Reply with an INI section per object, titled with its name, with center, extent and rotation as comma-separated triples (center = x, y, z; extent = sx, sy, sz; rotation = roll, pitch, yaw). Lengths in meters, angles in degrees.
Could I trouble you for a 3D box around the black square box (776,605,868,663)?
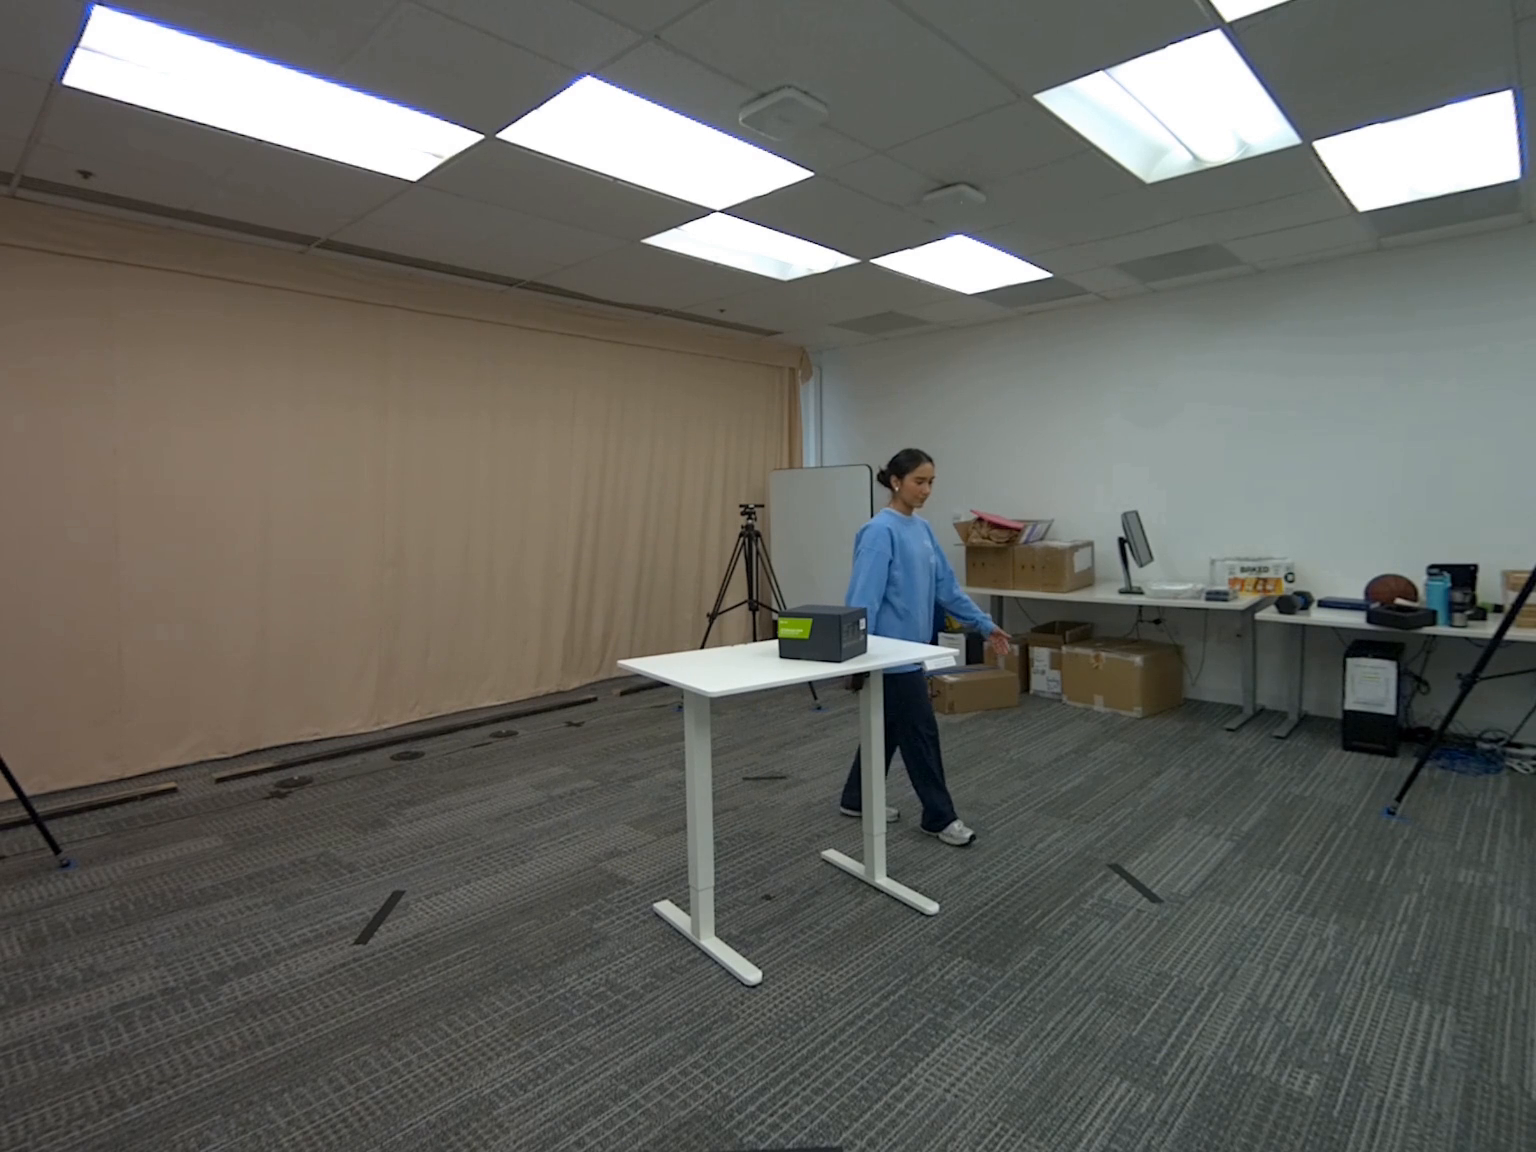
[black square box]
center = 0.186, 0.187, 2.815
extent = 0.234, 0.155, 0.211
rotation = 1, 5, 31
